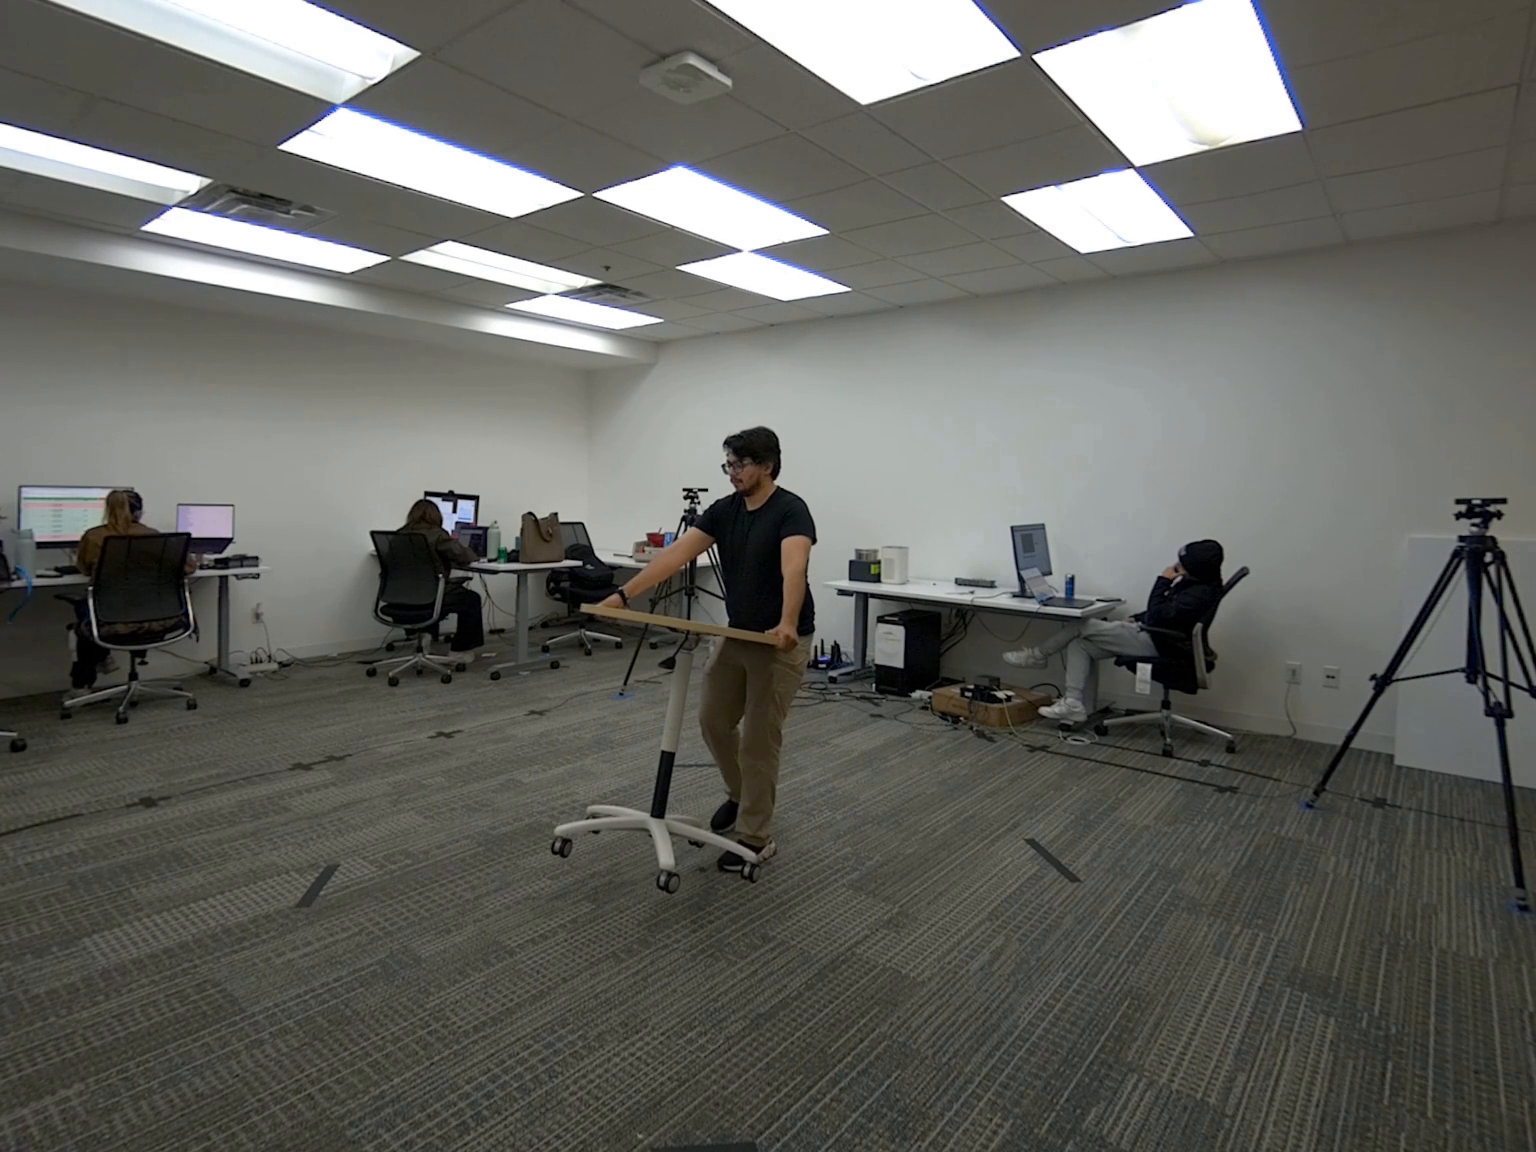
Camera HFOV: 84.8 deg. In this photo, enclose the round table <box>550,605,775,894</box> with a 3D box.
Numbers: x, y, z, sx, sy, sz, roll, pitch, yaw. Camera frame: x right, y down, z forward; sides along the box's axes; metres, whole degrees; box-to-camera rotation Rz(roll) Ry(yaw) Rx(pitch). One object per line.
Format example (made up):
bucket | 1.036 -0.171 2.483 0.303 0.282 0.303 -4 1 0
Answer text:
round table | -0.337 0.557 2.890 0.785 0.790 0.782 9 -5 -1
